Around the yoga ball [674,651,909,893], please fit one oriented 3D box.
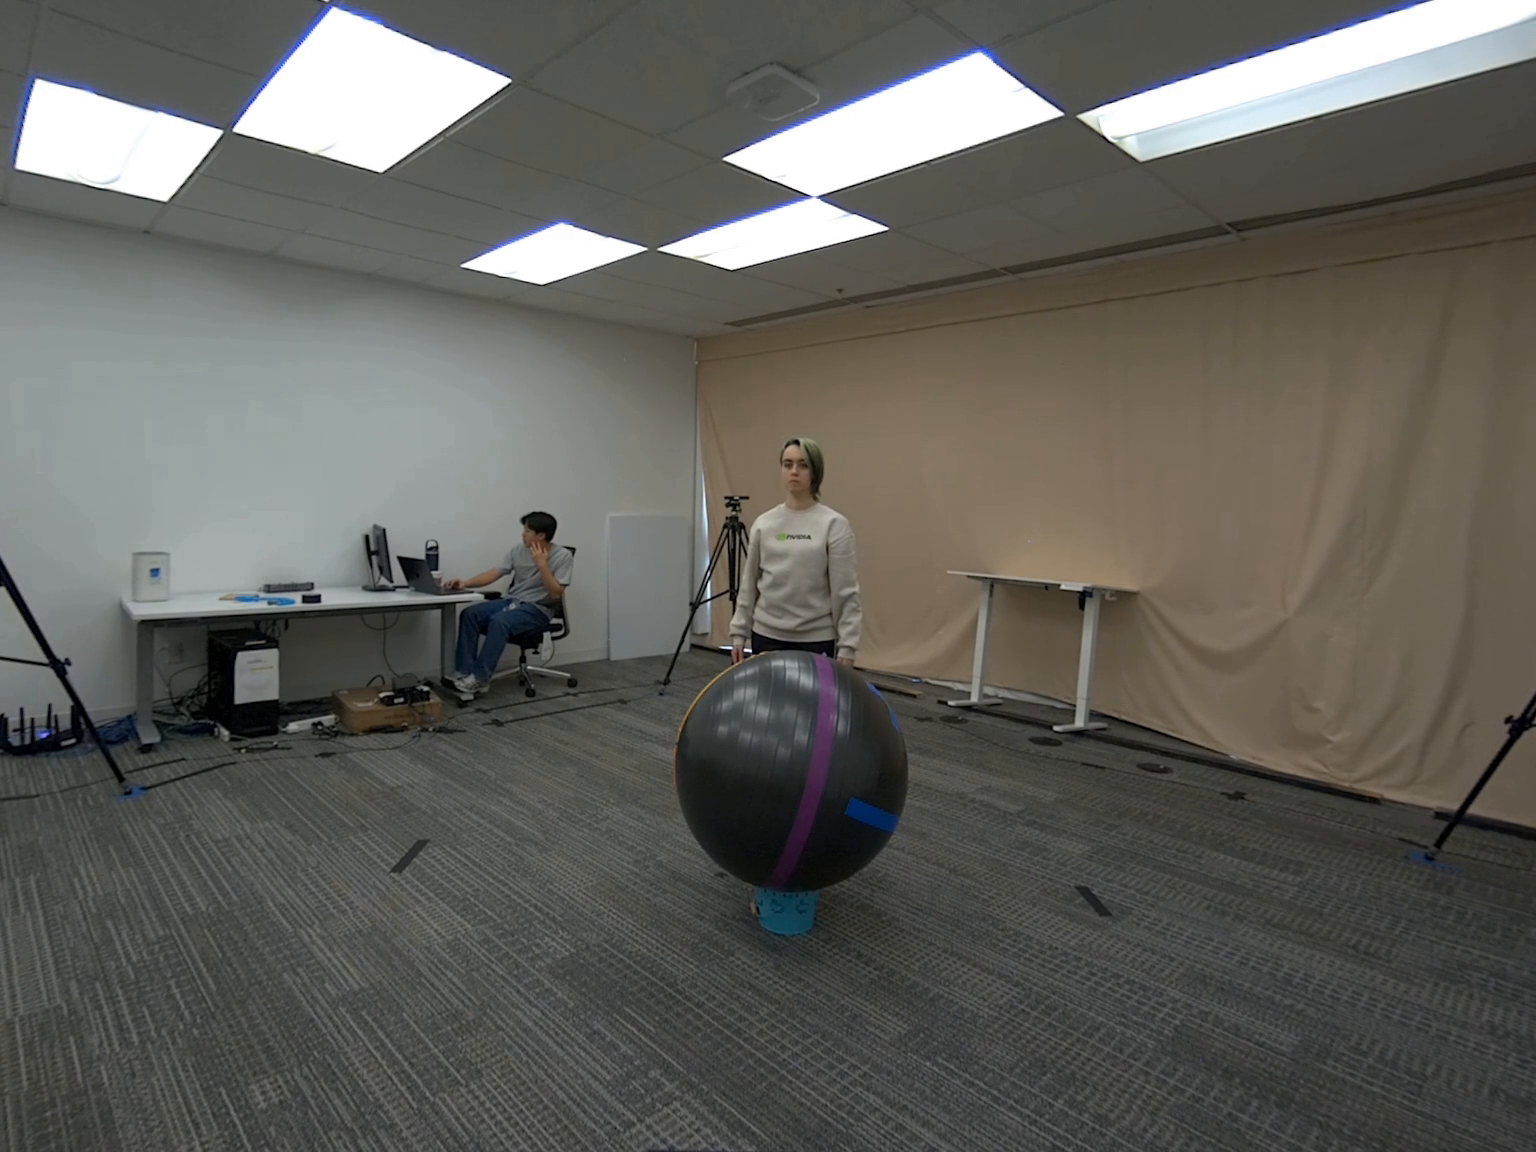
[{"bbox_3d":[0.063,0.631,2.752,0.757,0.756,0.761,1,4,-1],"label":"yoga ball"}]
